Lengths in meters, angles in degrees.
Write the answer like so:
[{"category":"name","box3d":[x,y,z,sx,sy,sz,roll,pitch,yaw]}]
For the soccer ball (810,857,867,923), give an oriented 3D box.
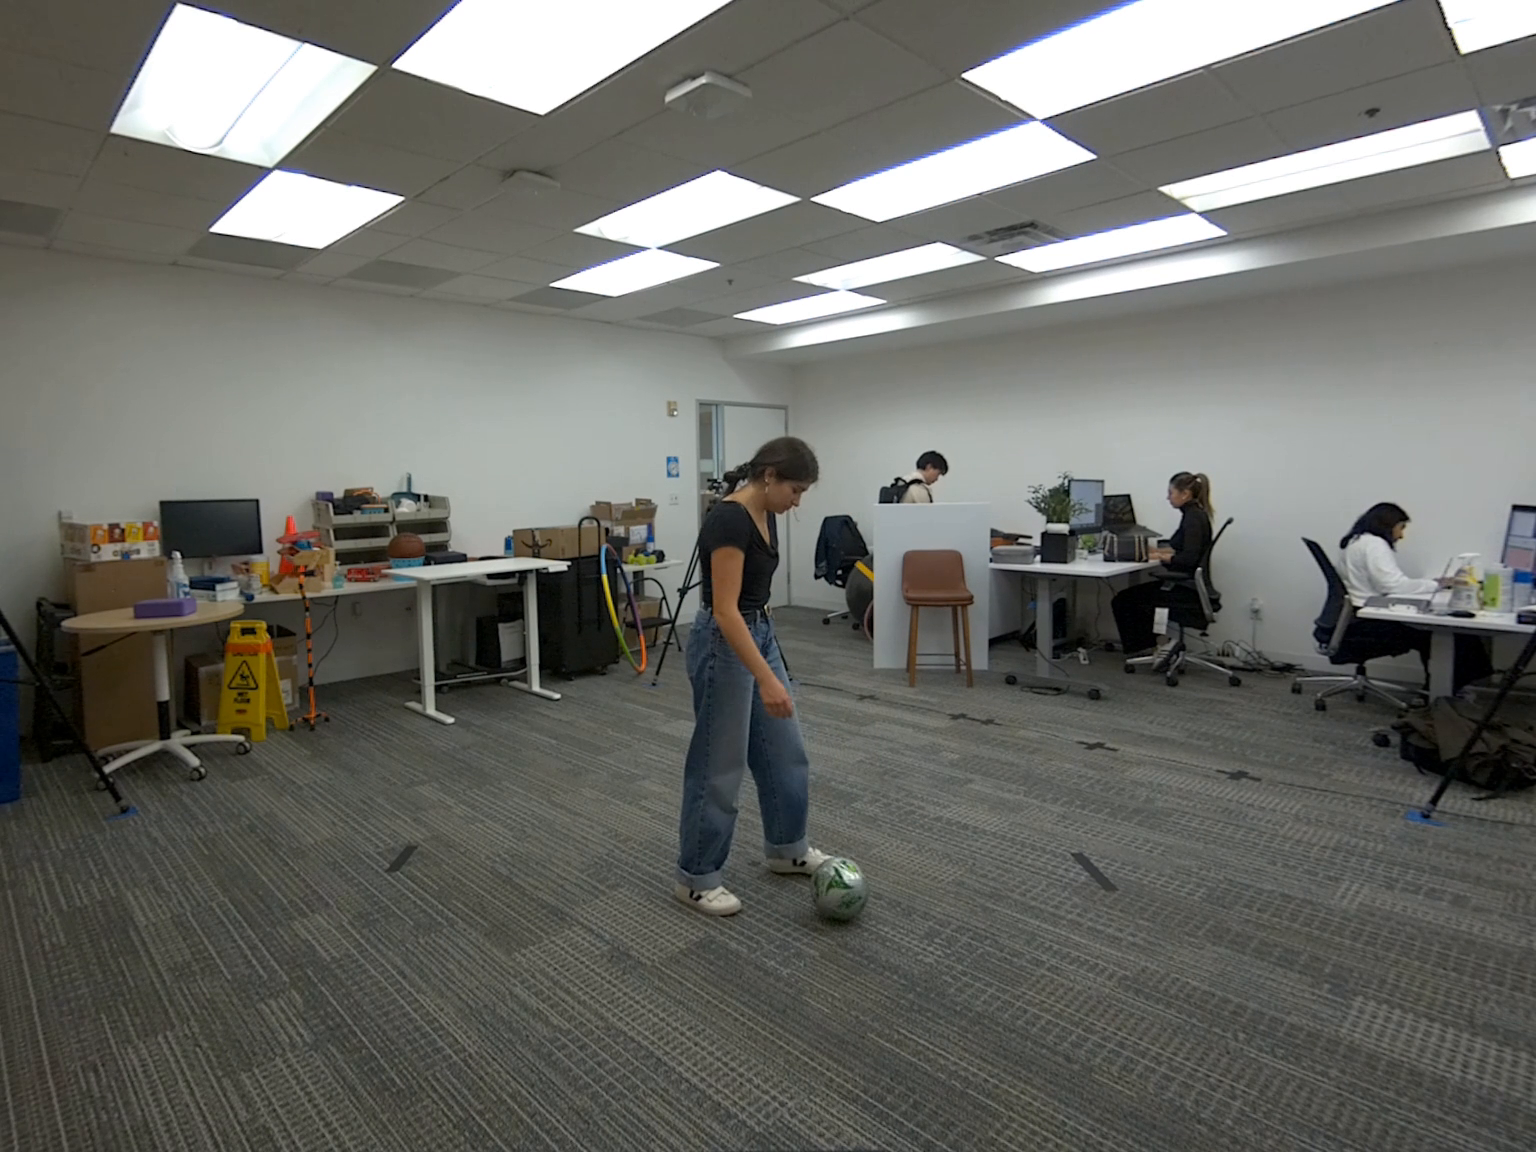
[{"category":"soccer ball","box3d":[0.225,0.984,2.711,0.187,0.187,0.188,-1,5,-2]}]
